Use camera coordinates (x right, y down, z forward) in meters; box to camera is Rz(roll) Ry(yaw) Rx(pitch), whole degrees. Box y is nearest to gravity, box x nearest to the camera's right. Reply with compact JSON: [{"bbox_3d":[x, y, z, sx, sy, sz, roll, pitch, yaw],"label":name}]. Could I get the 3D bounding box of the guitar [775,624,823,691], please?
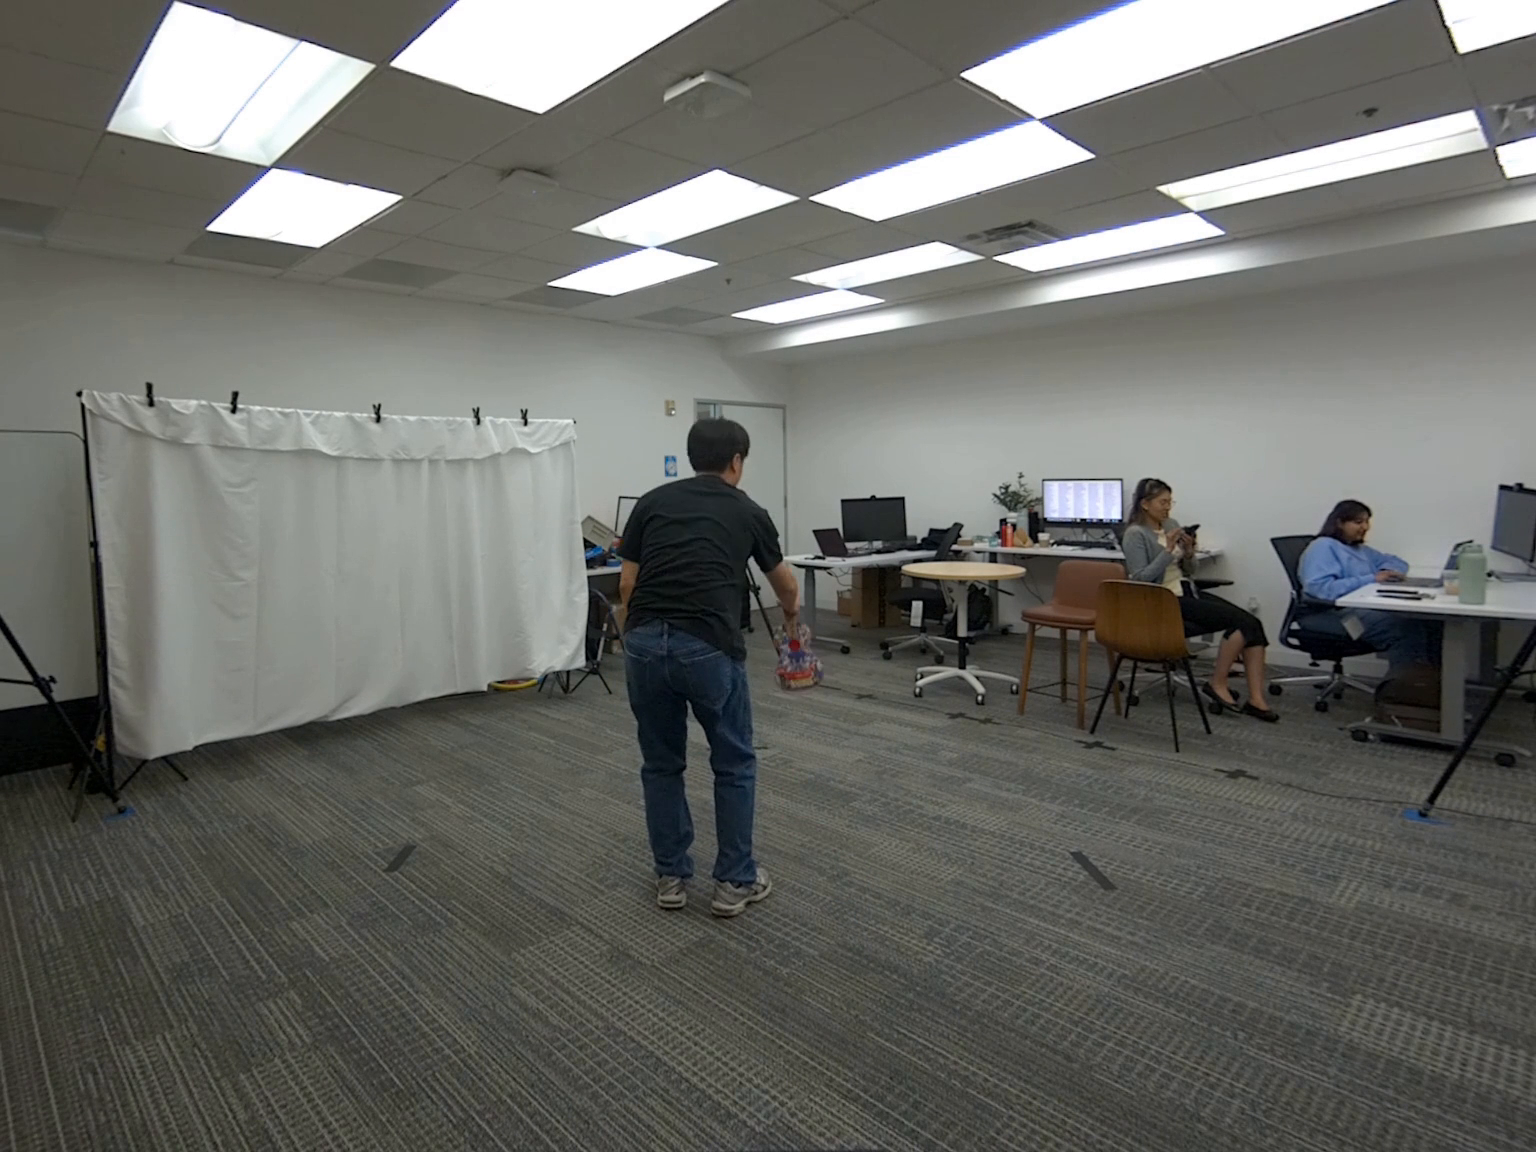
[{"bbox_3d":[0.122,0.206,3.387,0.193,0.505,0.069,-2,-15,2],"label":"guitar"}]
